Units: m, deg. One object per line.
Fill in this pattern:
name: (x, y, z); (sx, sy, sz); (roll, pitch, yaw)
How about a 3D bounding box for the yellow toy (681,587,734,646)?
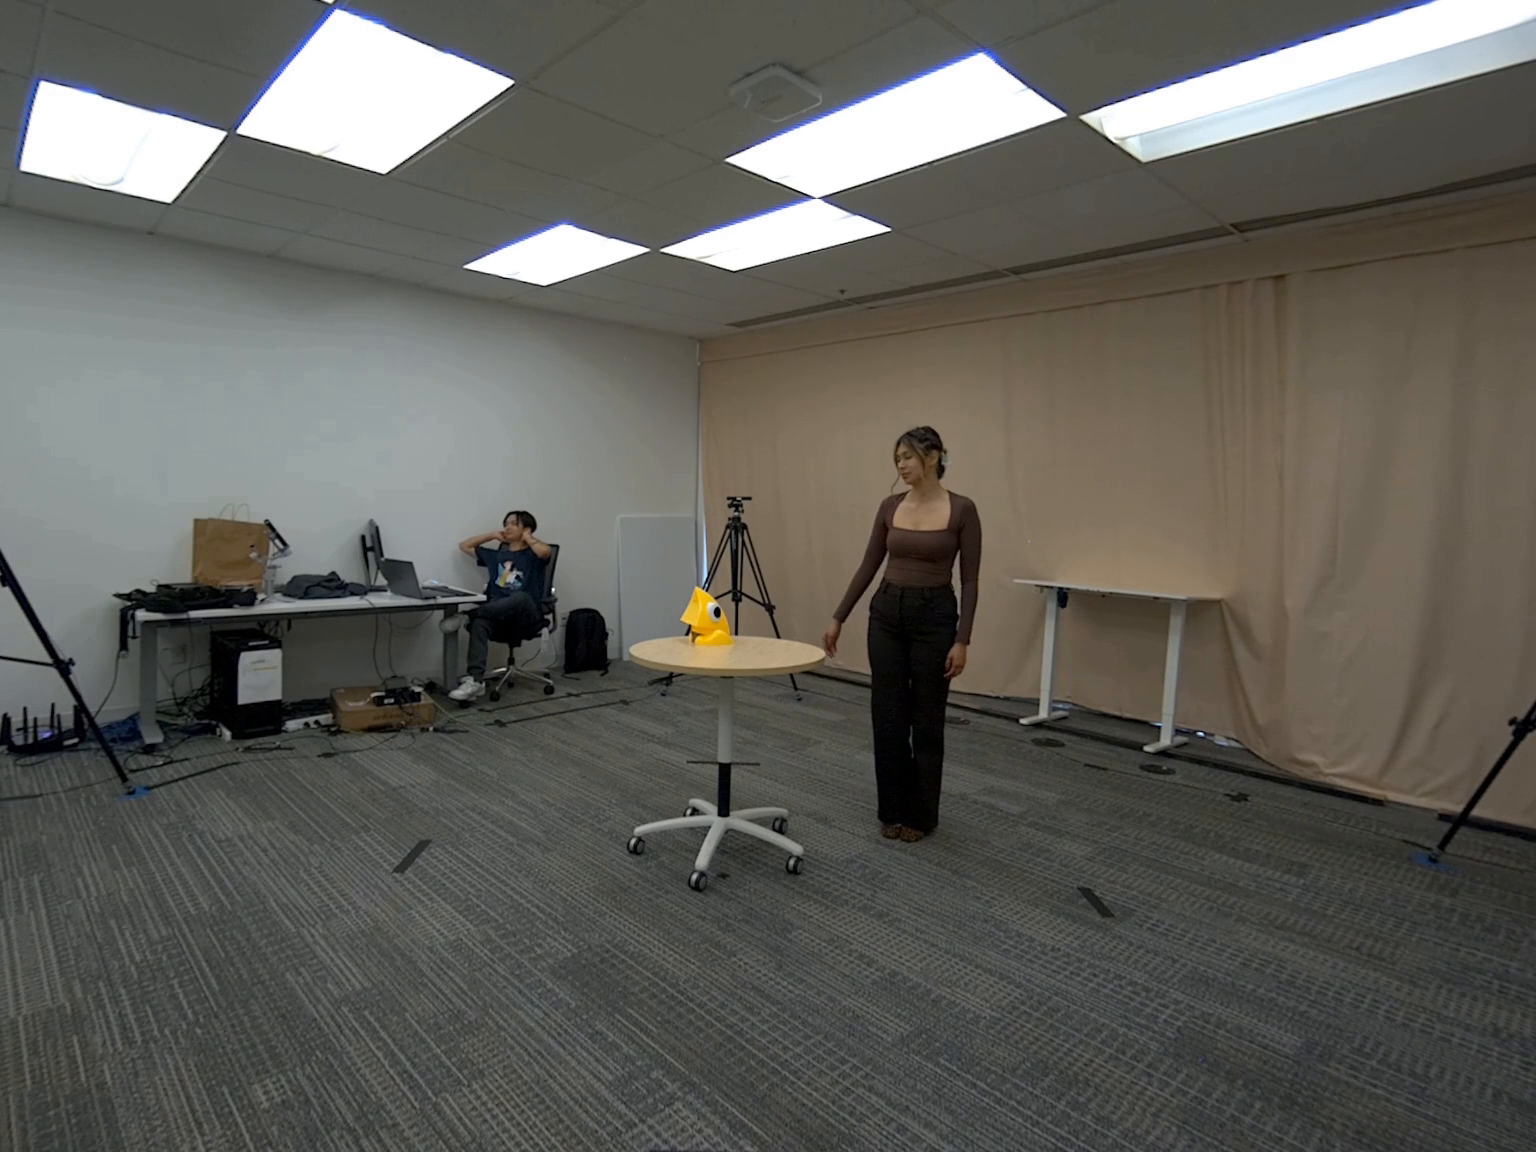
yellow toy: (-0.254, 0.161, 3.503); (0.190, 0.230, 0.209); (0, 3, -23)
